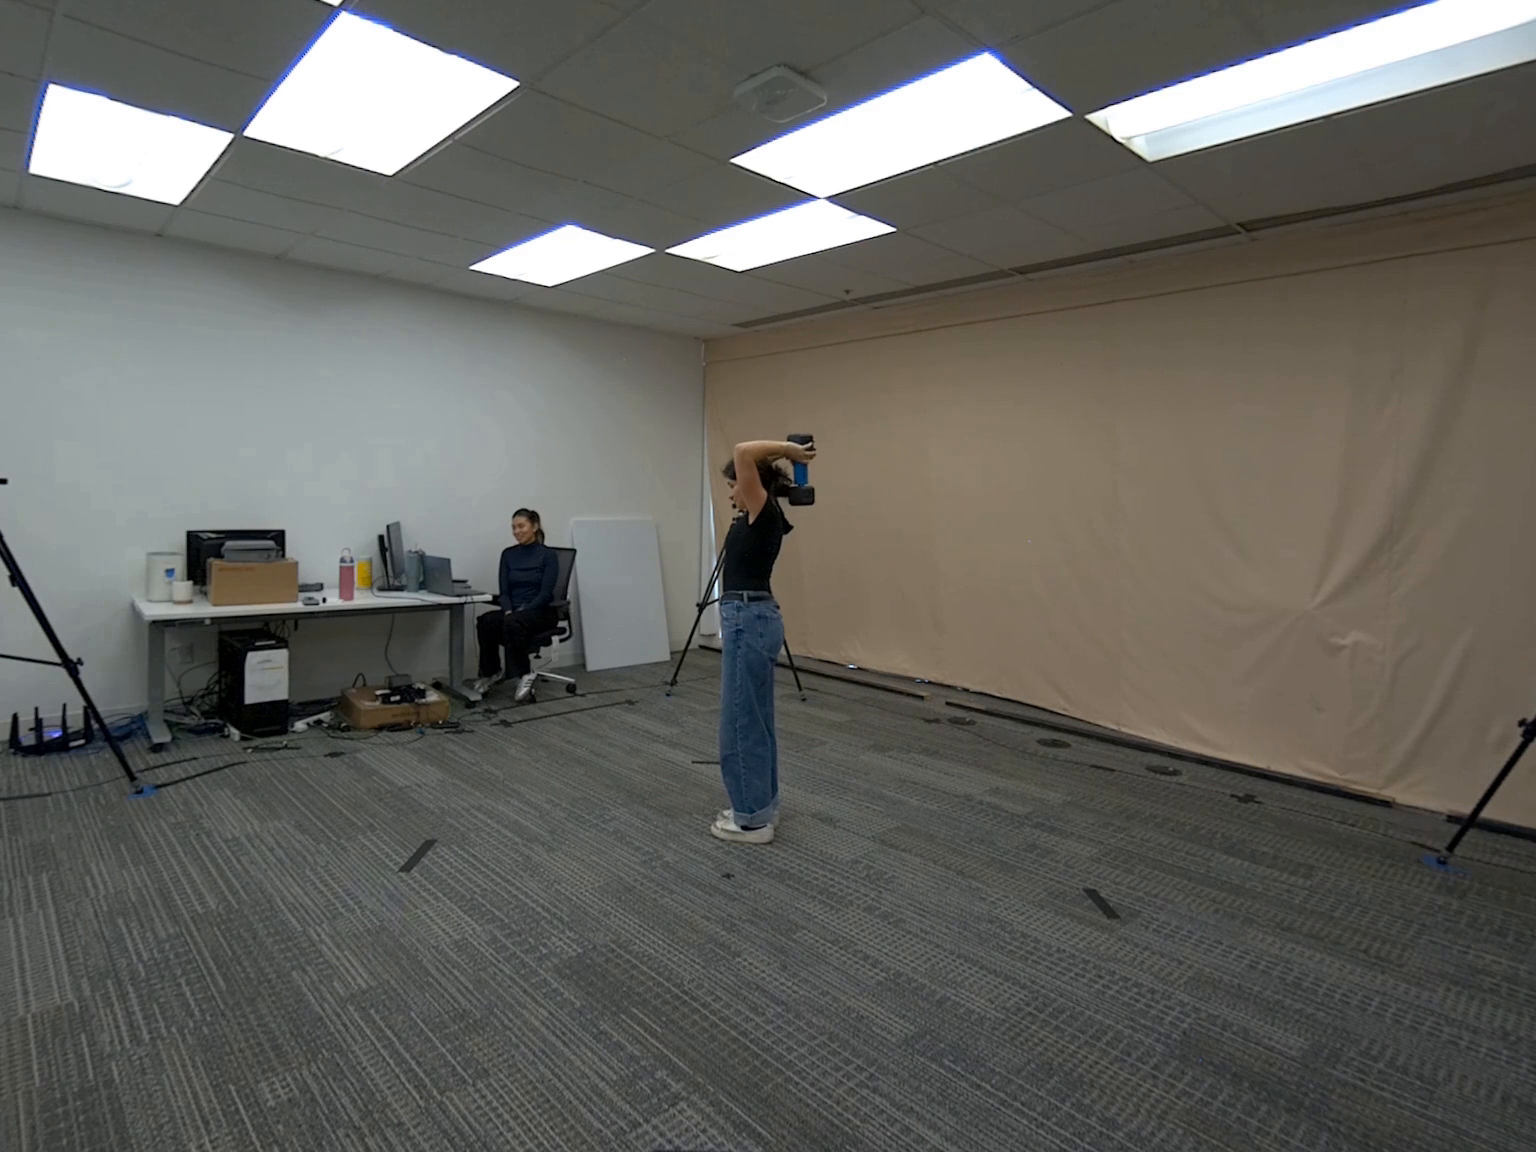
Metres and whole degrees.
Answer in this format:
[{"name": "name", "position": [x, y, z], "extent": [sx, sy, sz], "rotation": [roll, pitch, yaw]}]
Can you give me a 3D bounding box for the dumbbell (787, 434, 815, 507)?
[{"name": "dumbbell", "position": [0.121, -0.438, 3.450], "extent": [0.125, 0.293, 0.107], "rotation": [-1, 5, 34]}]
